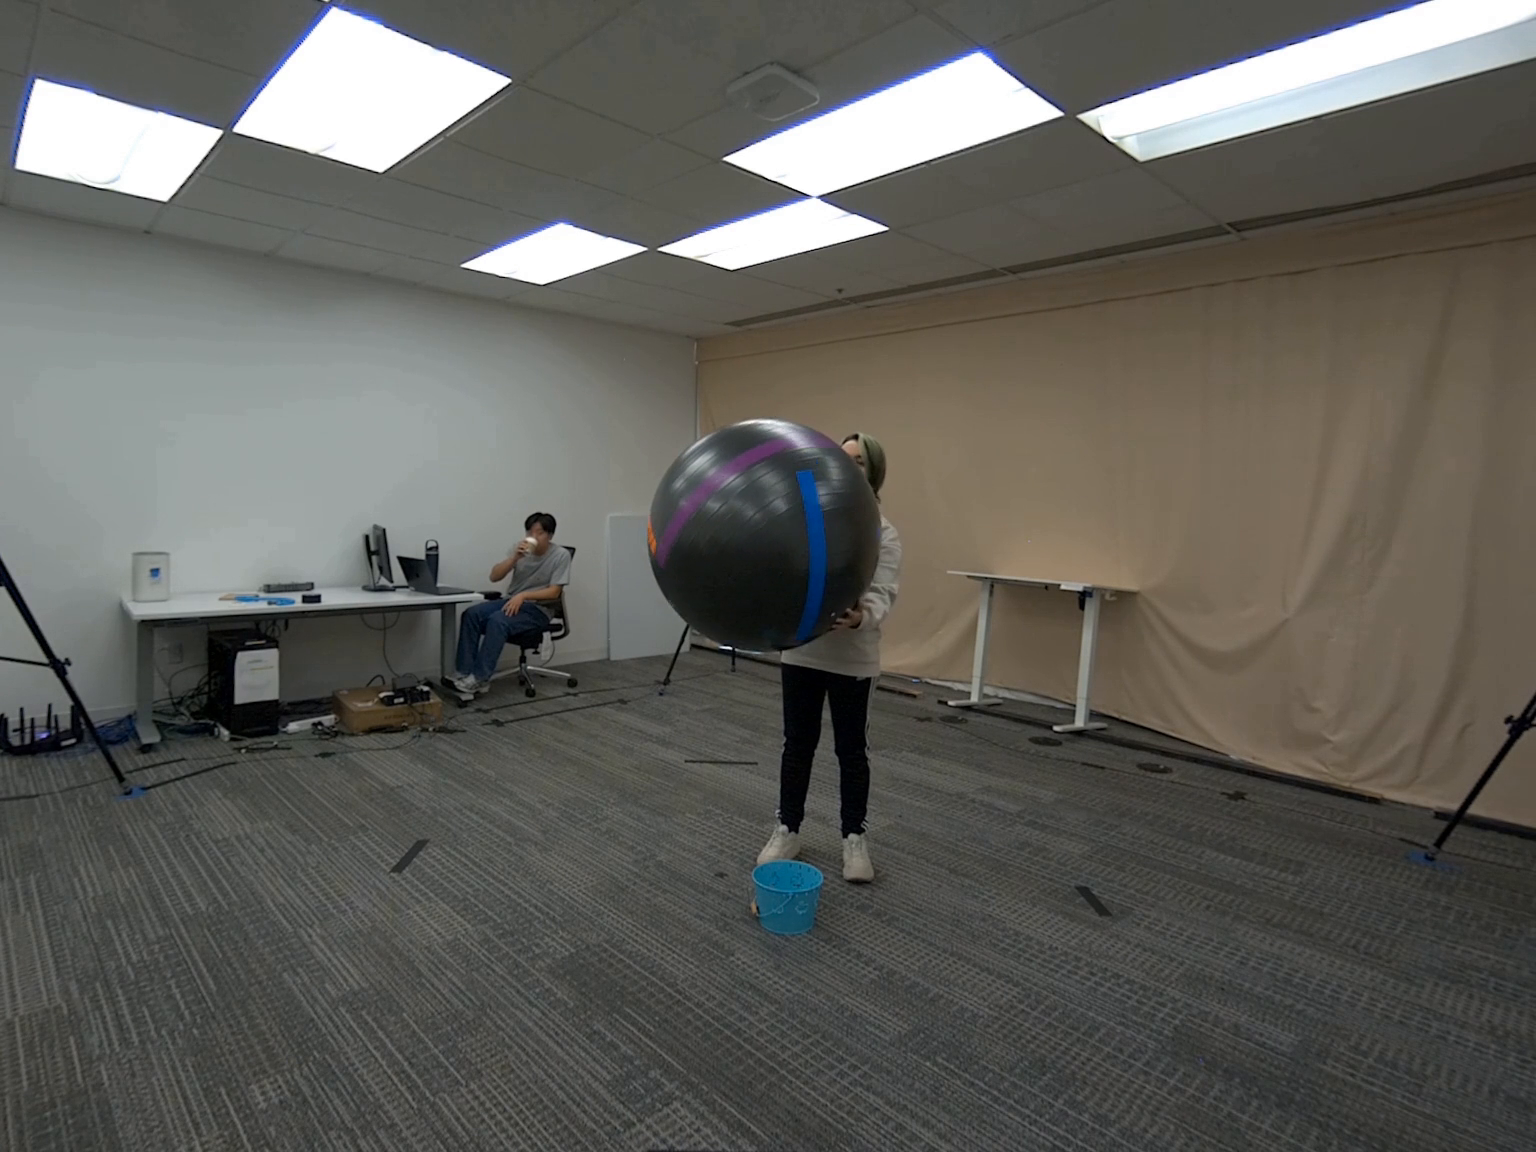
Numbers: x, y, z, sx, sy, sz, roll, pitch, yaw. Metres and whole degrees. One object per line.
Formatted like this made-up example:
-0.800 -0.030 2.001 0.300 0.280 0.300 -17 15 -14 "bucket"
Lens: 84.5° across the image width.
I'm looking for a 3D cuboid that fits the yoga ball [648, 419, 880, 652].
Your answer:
-0.018 -0.124 2.738 0.757 0.756 0.761 1 4 -1 "yoga ball"
